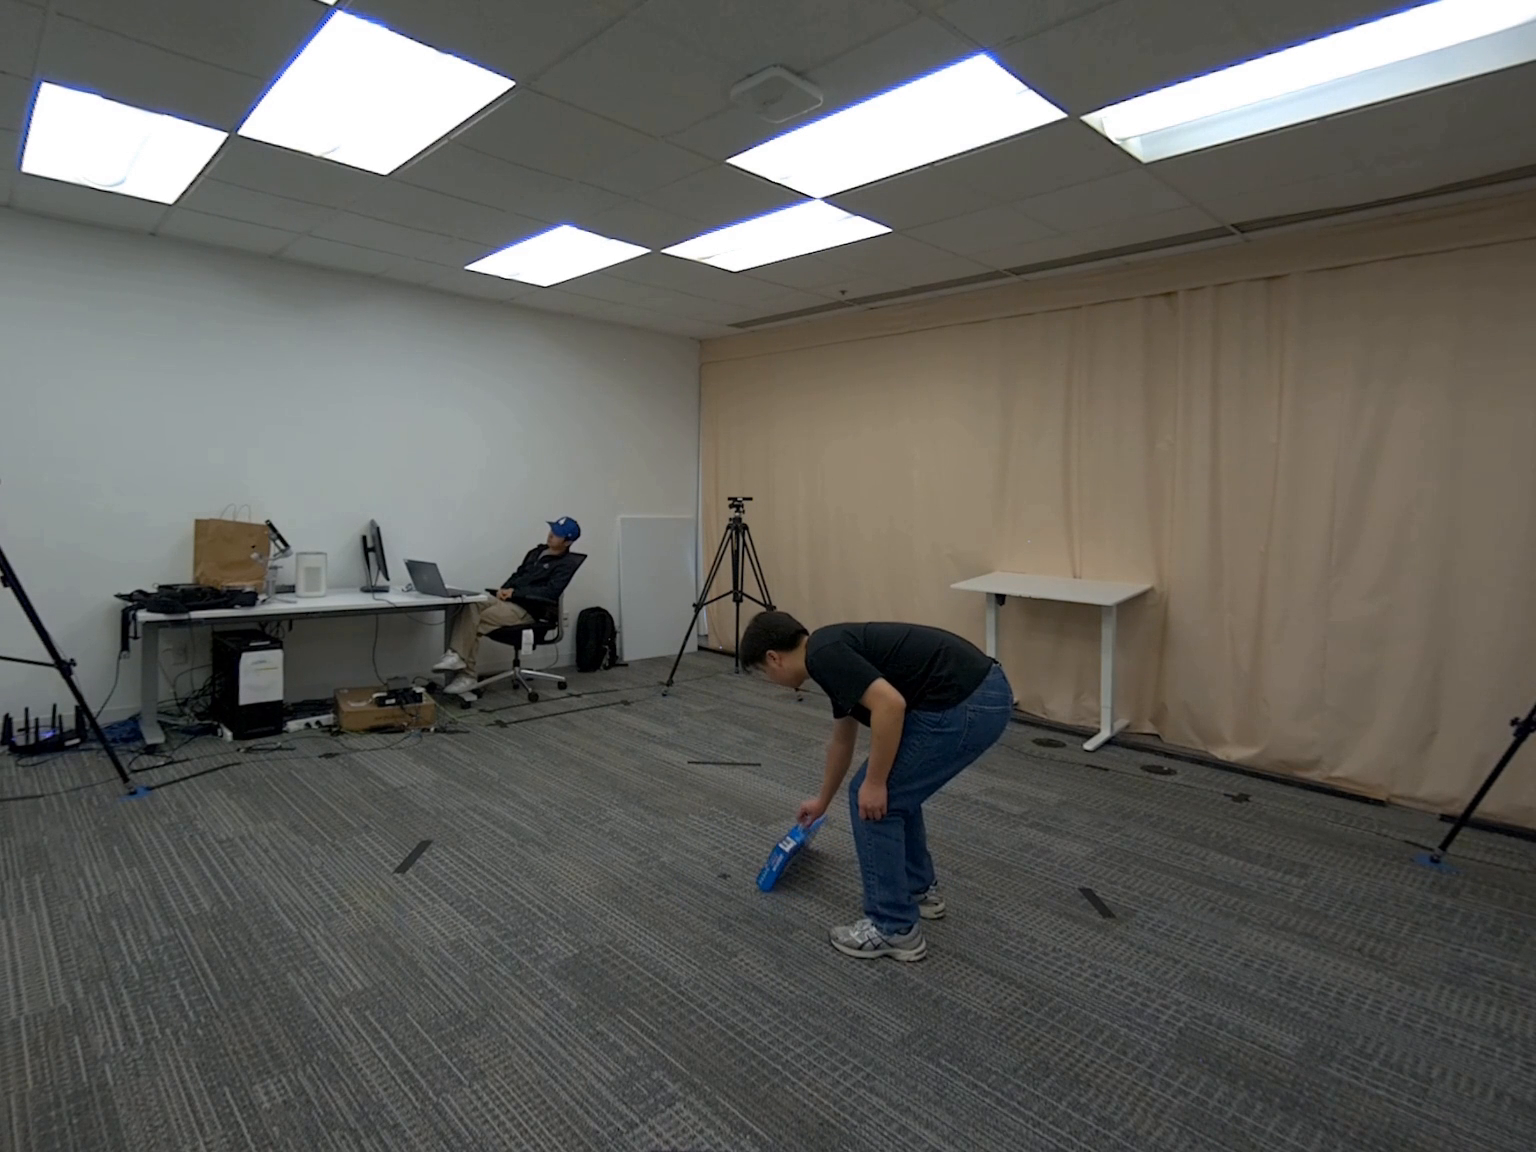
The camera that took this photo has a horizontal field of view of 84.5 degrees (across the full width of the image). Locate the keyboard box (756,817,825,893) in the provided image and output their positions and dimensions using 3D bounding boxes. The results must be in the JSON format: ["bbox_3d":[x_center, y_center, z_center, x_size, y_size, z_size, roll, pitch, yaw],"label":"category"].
[{"bbox_3d":[0.091,1.018,3.162,0.060,0.175,0.430,30,15,17],"label":"keyboard box"}]
